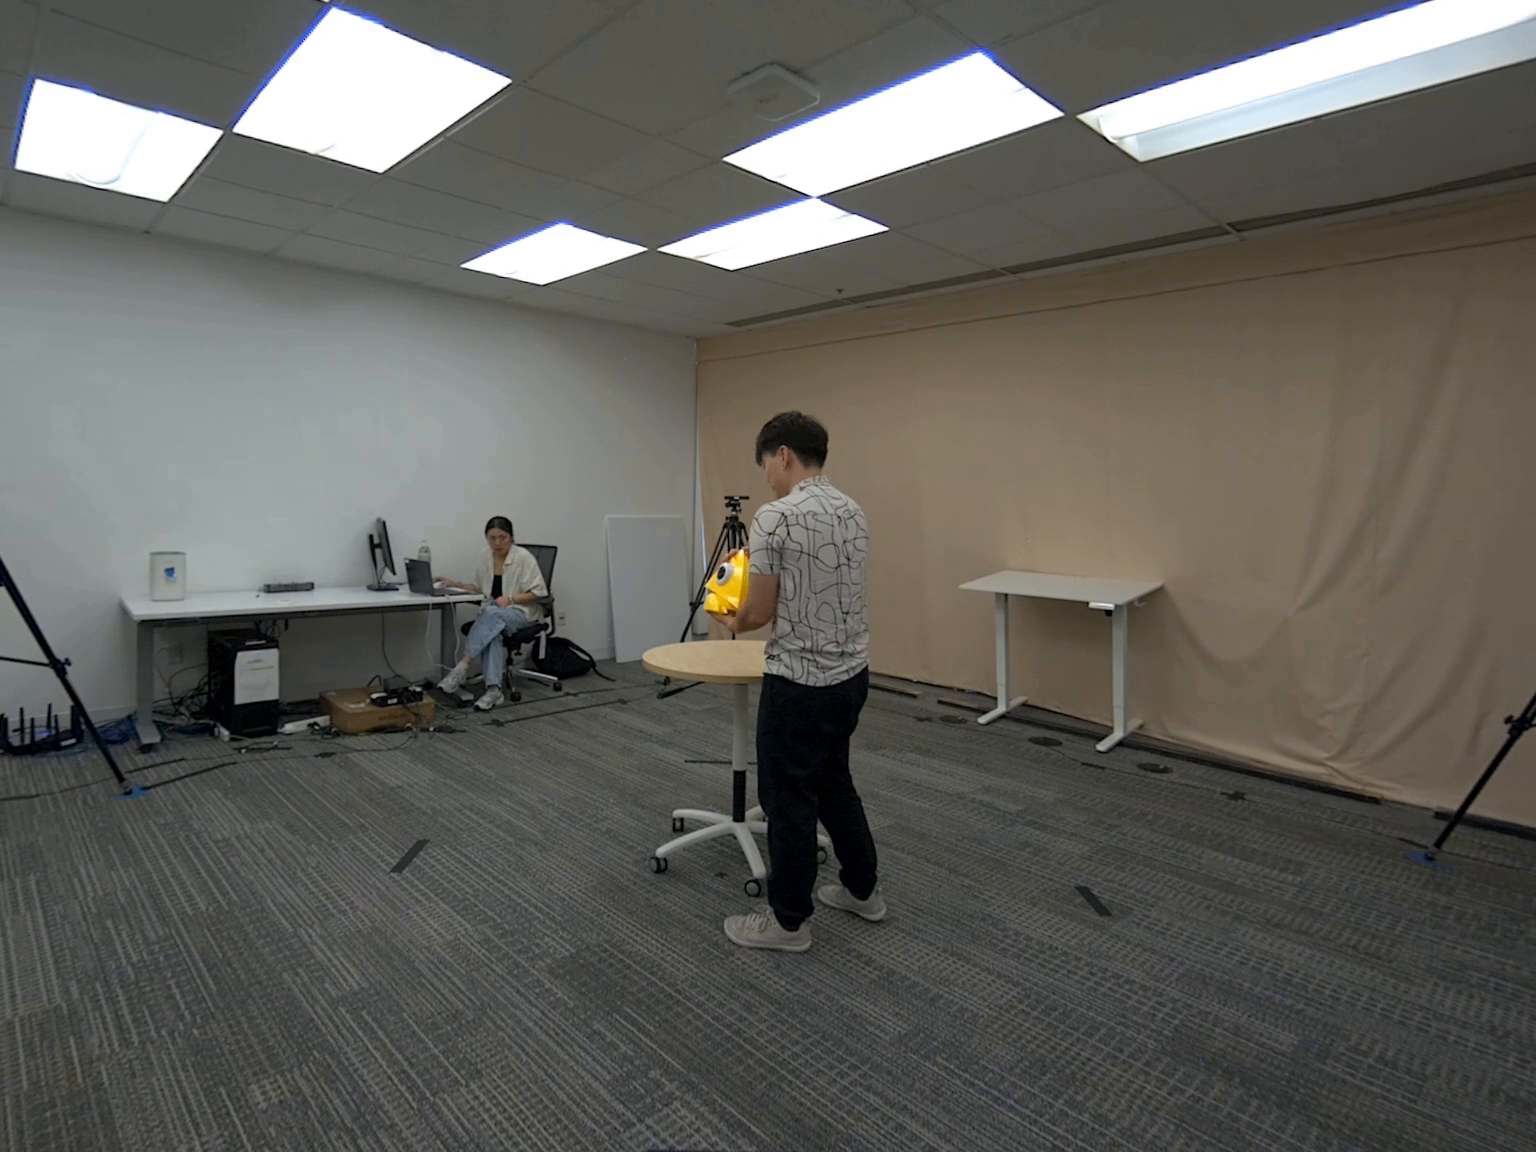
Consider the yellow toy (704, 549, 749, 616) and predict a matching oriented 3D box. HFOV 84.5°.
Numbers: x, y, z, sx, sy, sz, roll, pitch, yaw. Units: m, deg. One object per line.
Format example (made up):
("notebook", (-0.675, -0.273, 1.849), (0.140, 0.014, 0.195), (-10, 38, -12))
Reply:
("yellow toy", (-0.096, 0.019, 2.800), (0.204, 0.231, 0.194), (12, -4, -7))
